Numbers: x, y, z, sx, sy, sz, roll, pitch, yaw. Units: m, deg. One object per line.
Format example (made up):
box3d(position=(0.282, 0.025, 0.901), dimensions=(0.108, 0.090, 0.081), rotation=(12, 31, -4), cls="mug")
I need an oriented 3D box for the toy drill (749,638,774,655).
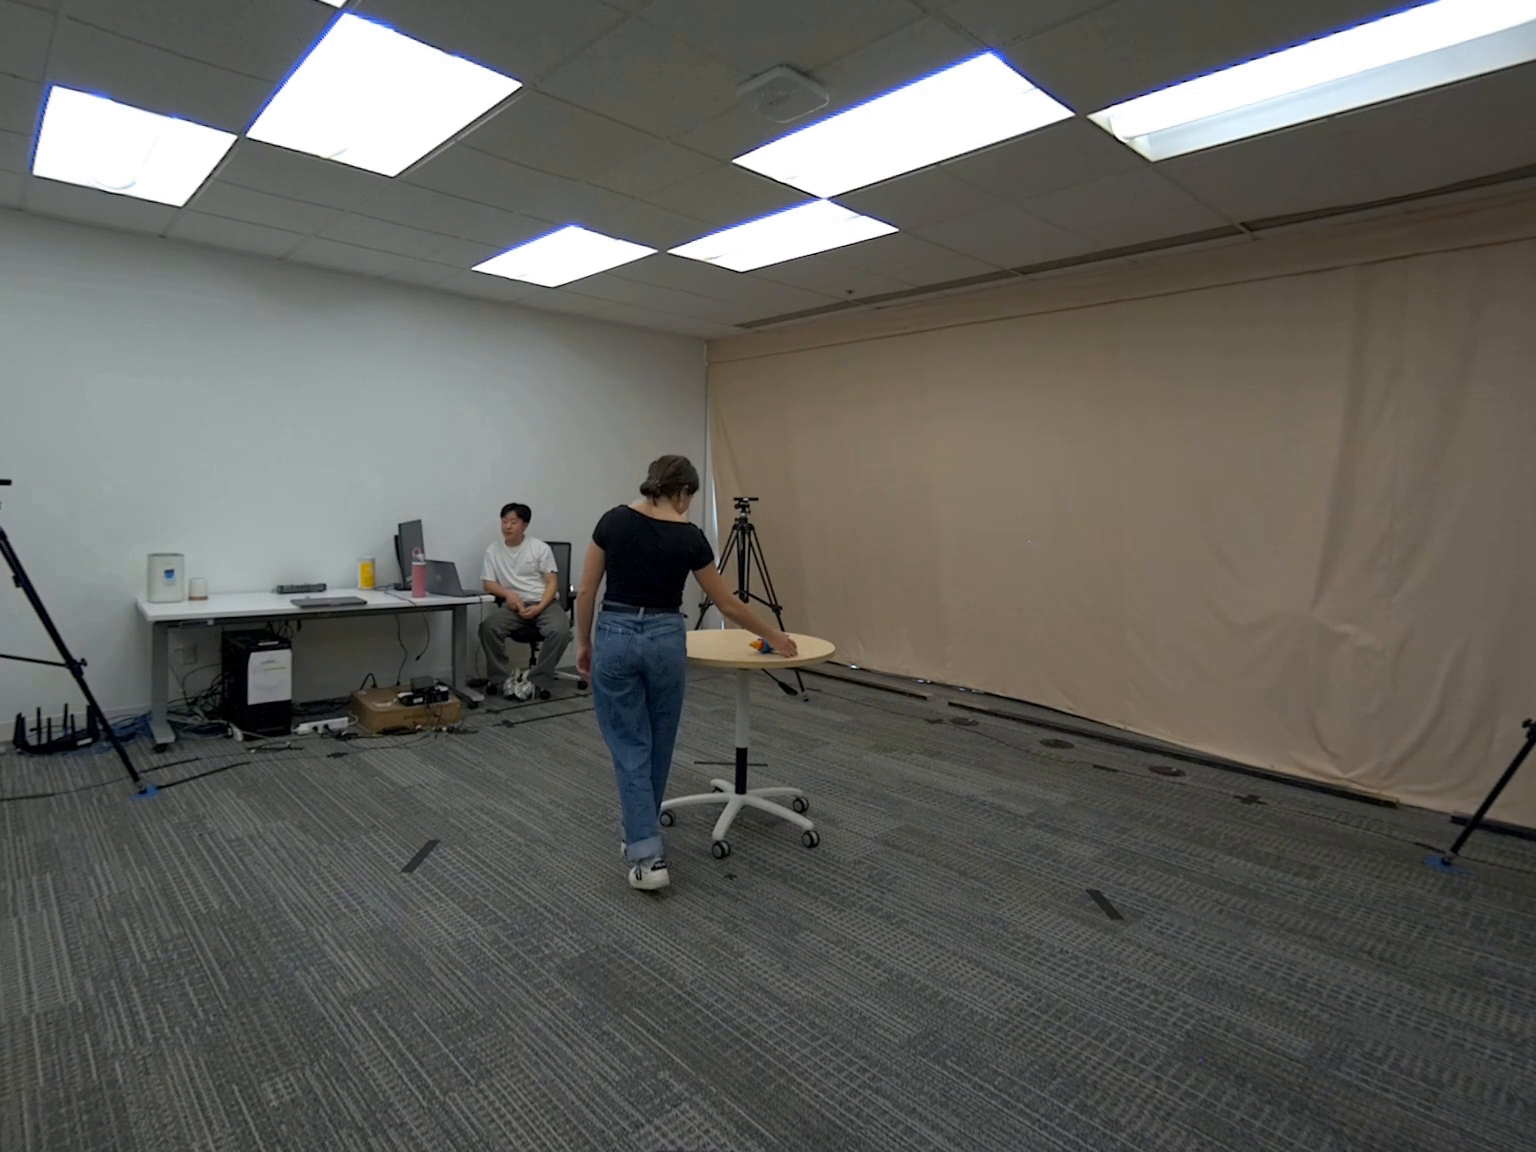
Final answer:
box3d(position=(0.011, 0.283, 3.329), dimensions=(0.150, 0.061, 0.165), rotation=(8, -2, 40), cls="toy drill")
